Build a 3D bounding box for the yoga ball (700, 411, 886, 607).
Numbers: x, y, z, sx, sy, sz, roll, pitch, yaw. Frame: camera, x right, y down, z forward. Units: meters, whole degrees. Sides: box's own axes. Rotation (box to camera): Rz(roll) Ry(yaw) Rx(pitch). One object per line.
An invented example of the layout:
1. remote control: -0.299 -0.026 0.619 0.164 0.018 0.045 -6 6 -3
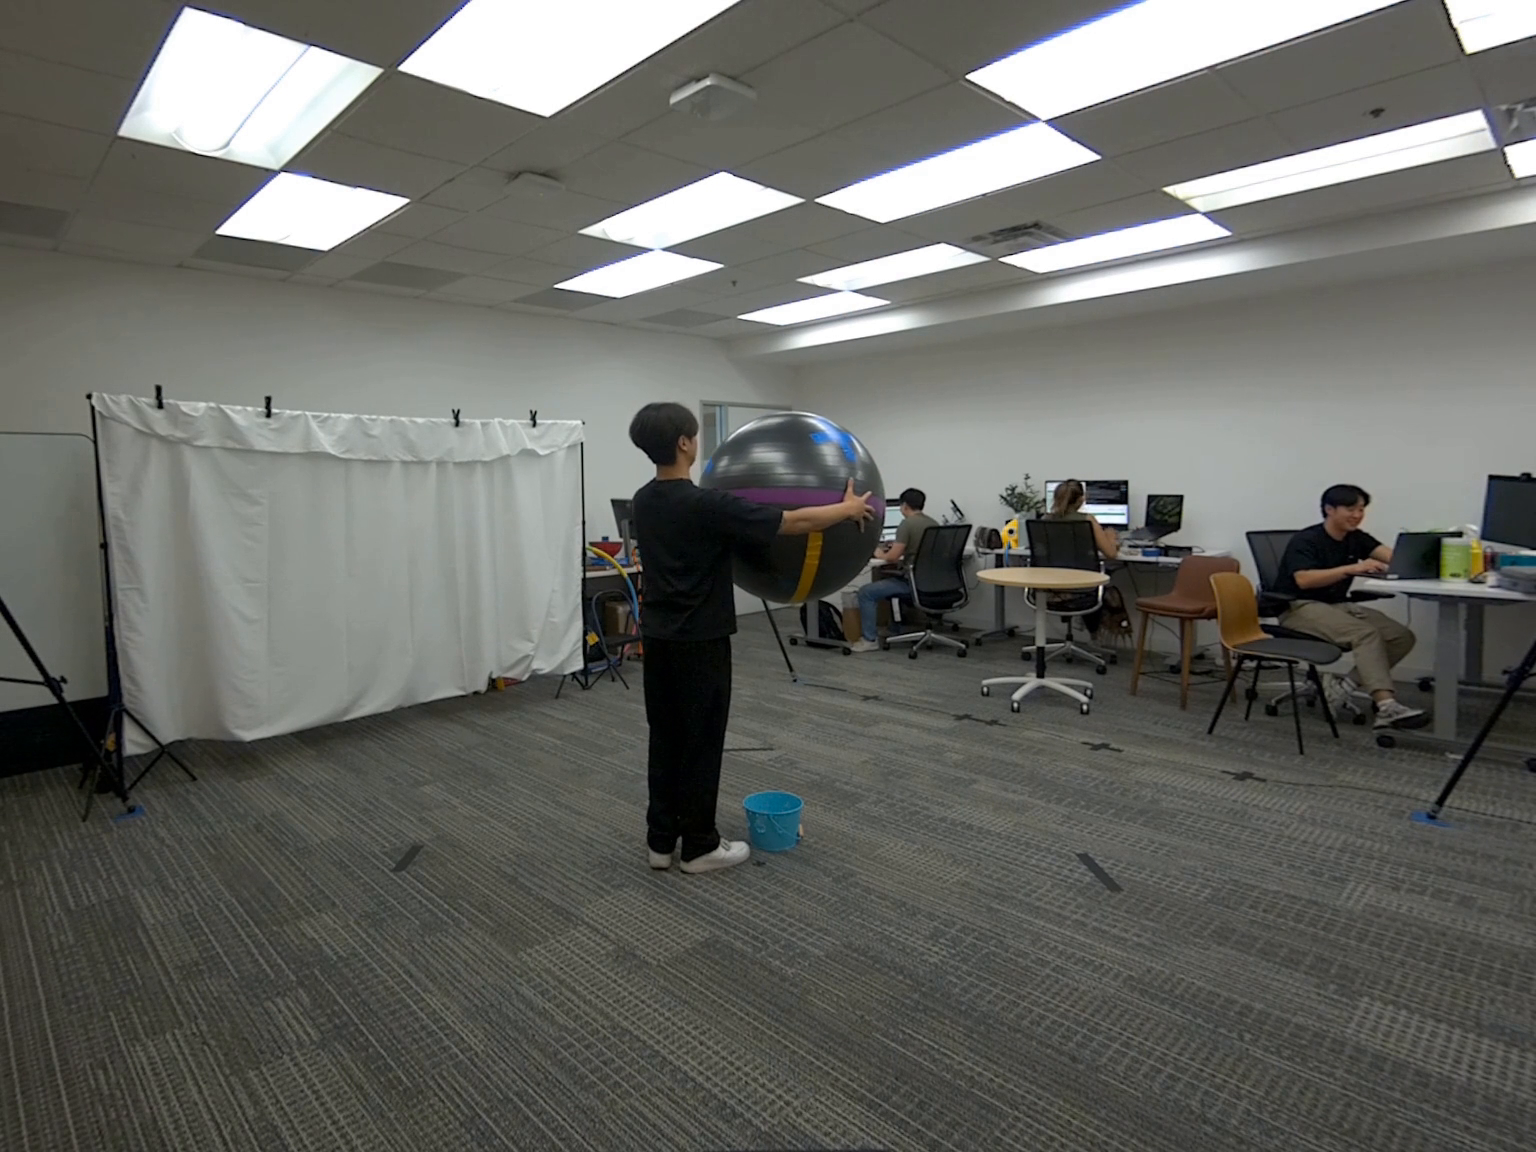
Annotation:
1. yoga ball: 0.086 -0.269 3.431 0.757 0.755 0.762 -1 5 -2
